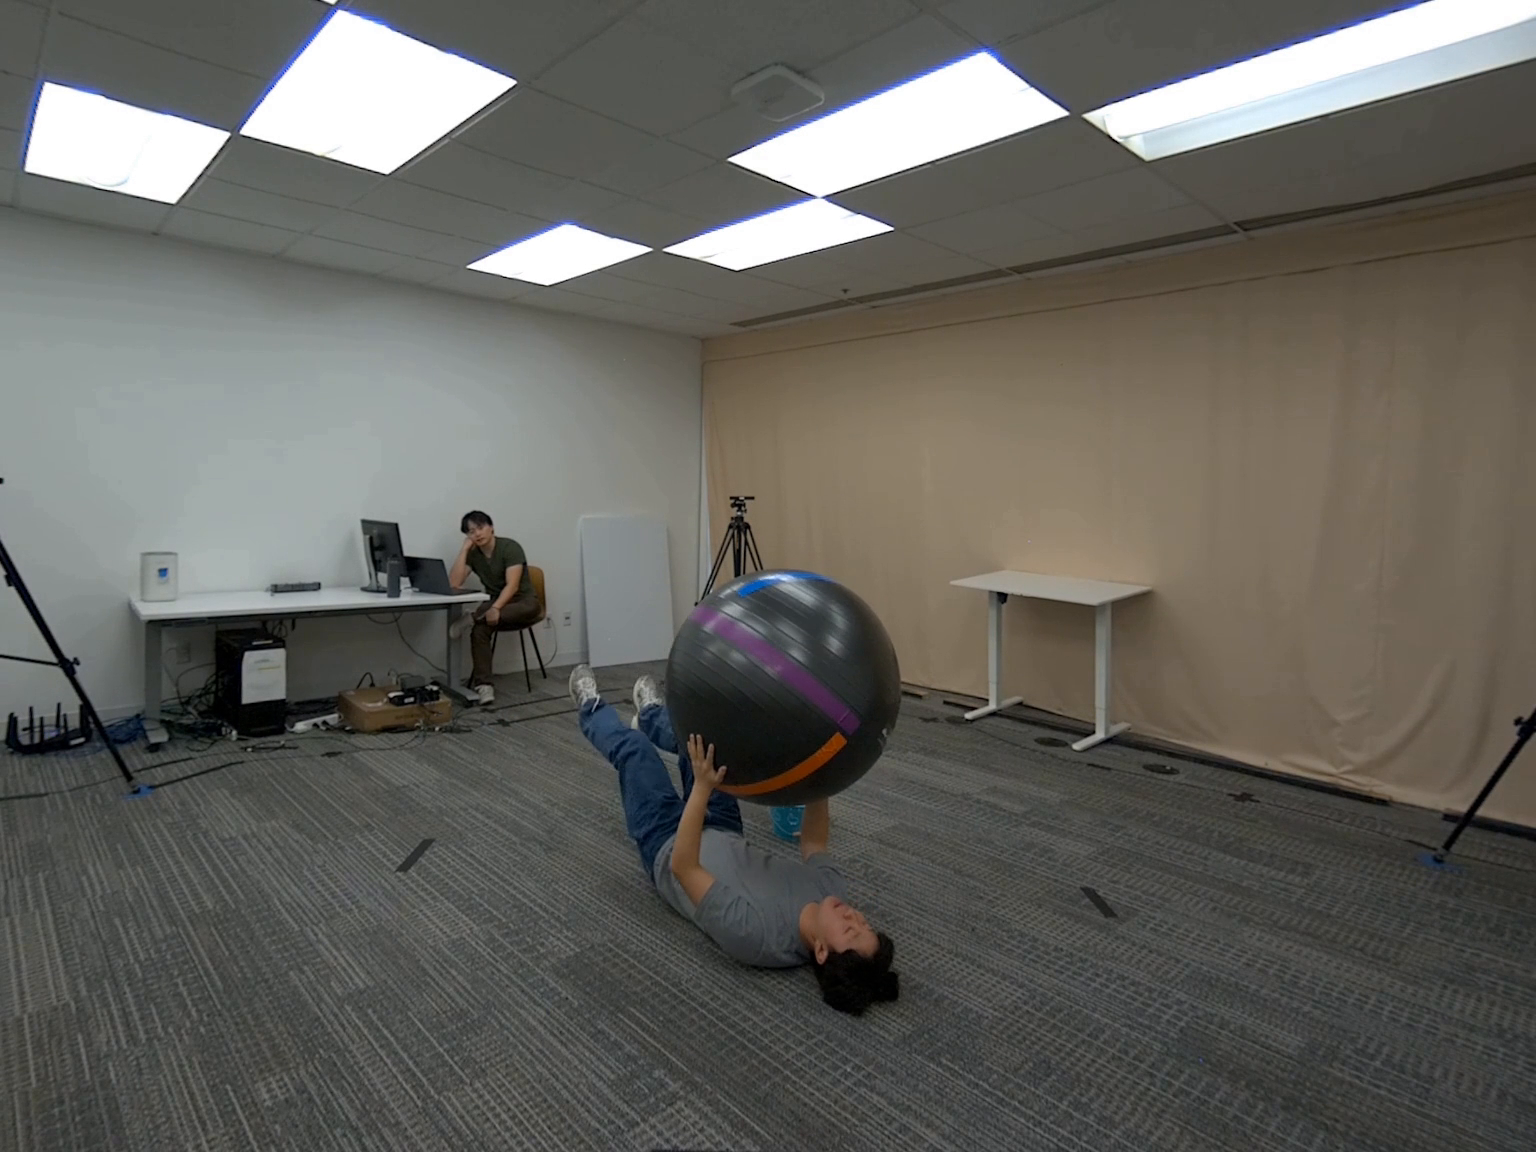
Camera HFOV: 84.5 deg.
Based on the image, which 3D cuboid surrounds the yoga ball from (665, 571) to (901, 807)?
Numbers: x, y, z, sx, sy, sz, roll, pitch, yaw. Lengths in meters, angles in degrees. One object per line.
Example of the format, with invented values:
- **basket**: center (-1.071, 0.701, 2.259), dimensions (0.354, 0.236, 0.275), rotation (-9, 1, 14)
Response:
- **yoga ball**: center (0.044, 0.363, 2.735), dimensions (0.757, 0.756, 0.761), rotation (1, 4, -1)
